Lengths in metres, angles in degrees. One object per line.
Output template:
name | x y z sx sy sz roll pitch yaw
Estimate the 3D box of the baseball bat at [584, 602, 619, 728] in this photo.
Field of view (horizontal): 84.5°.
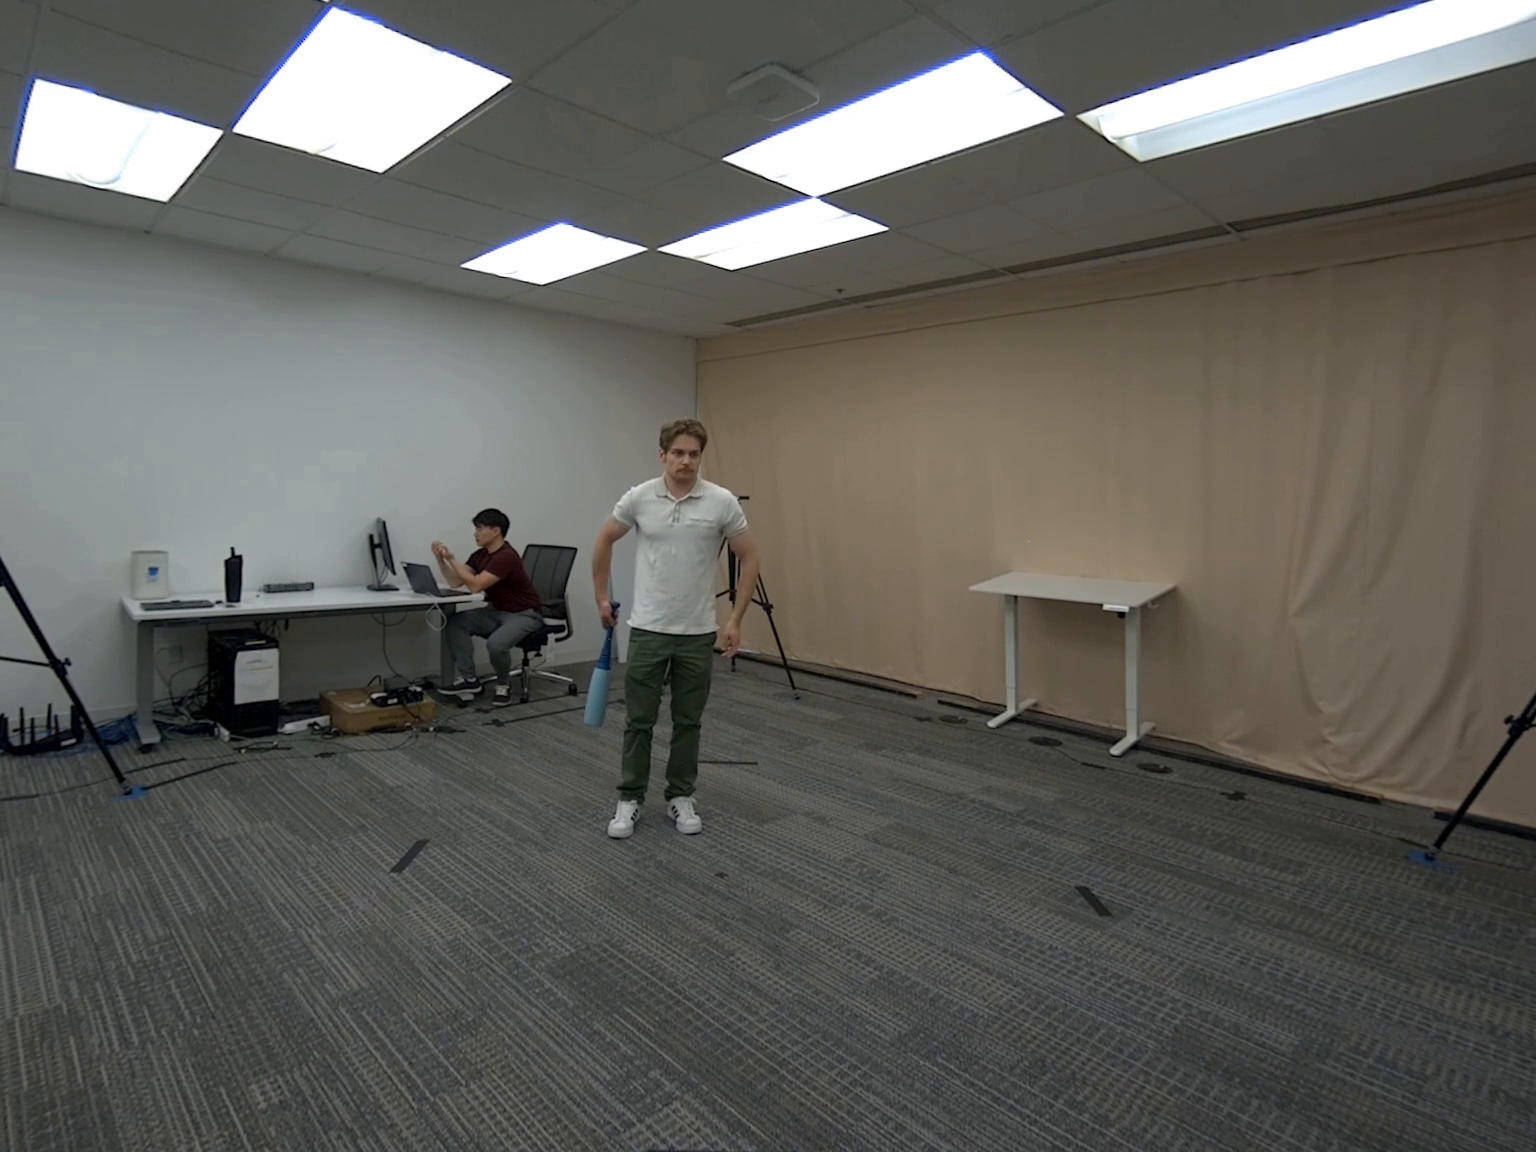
baseball bat | -0.701 0.372 3.618 0.089 0.543 0.089 9 -2 -1
